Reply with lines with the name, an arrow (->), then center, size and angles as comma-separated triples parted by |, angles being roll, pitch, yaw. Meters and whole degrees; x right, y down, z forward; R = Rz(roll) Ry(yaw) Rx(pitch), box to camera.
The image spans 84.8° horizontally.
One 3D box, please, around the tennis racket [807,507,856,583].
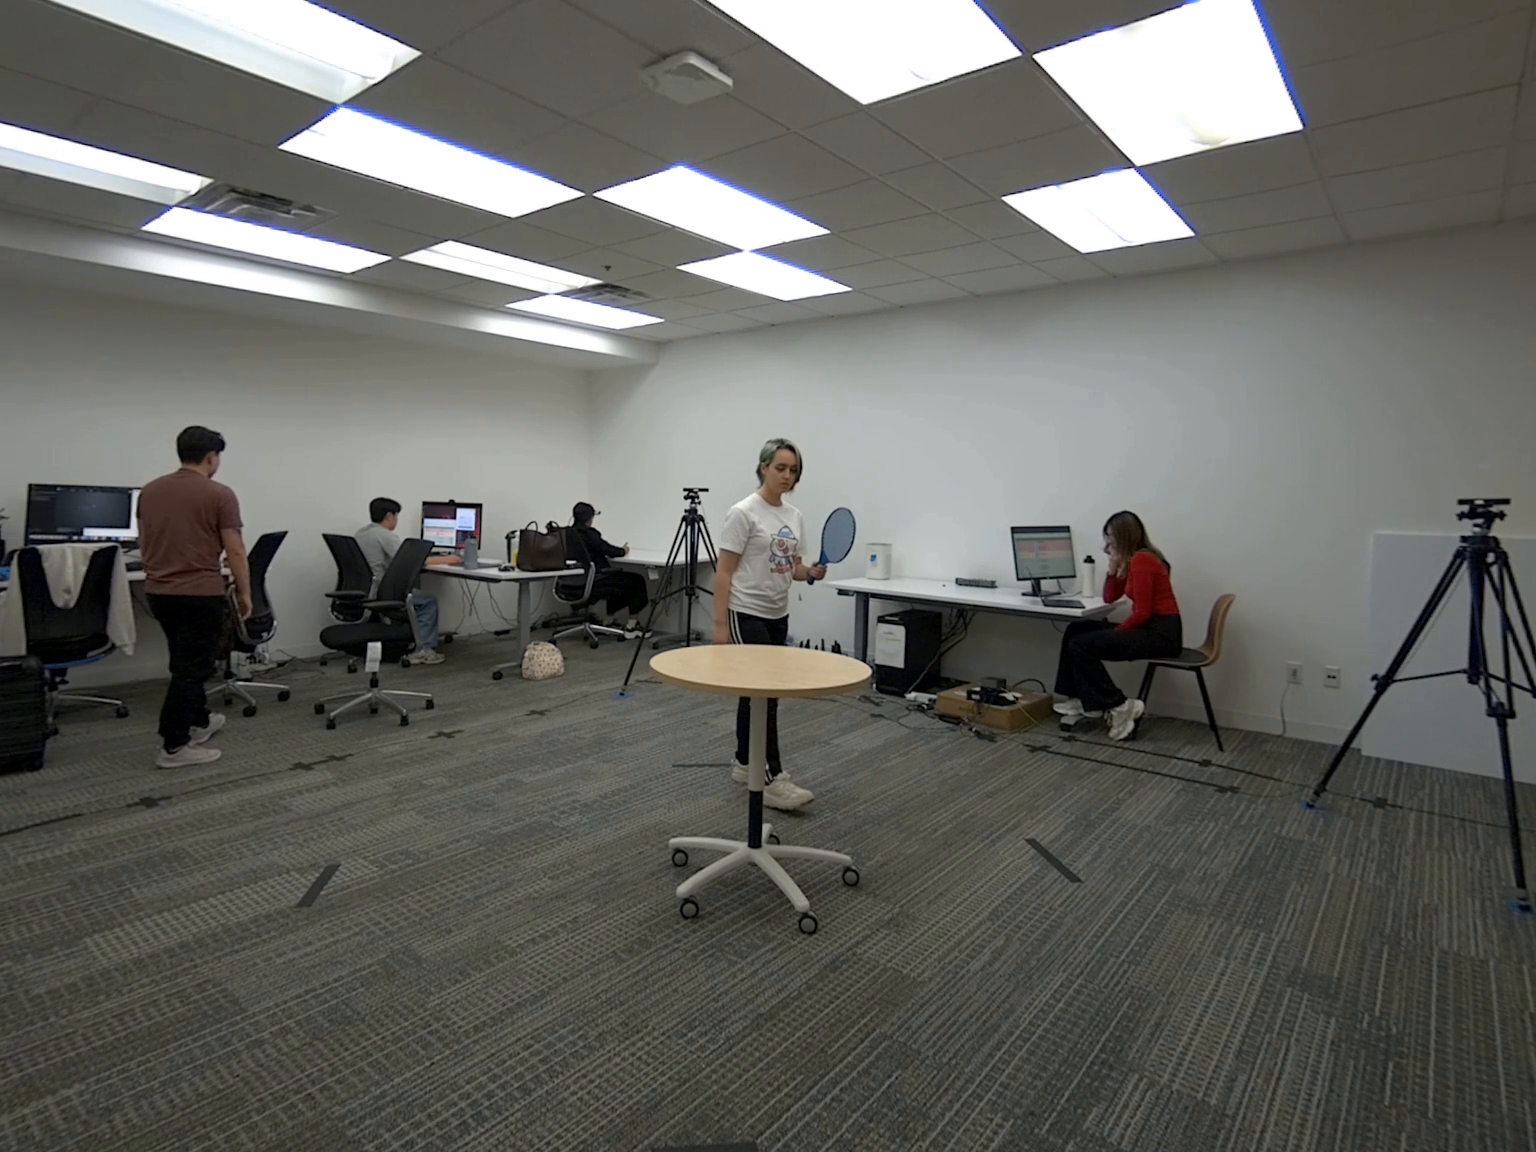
tennis racket -> 0.251, -0.125, 3.729 | 0.031, 0.221, 0.429 | 6, -43, -26
